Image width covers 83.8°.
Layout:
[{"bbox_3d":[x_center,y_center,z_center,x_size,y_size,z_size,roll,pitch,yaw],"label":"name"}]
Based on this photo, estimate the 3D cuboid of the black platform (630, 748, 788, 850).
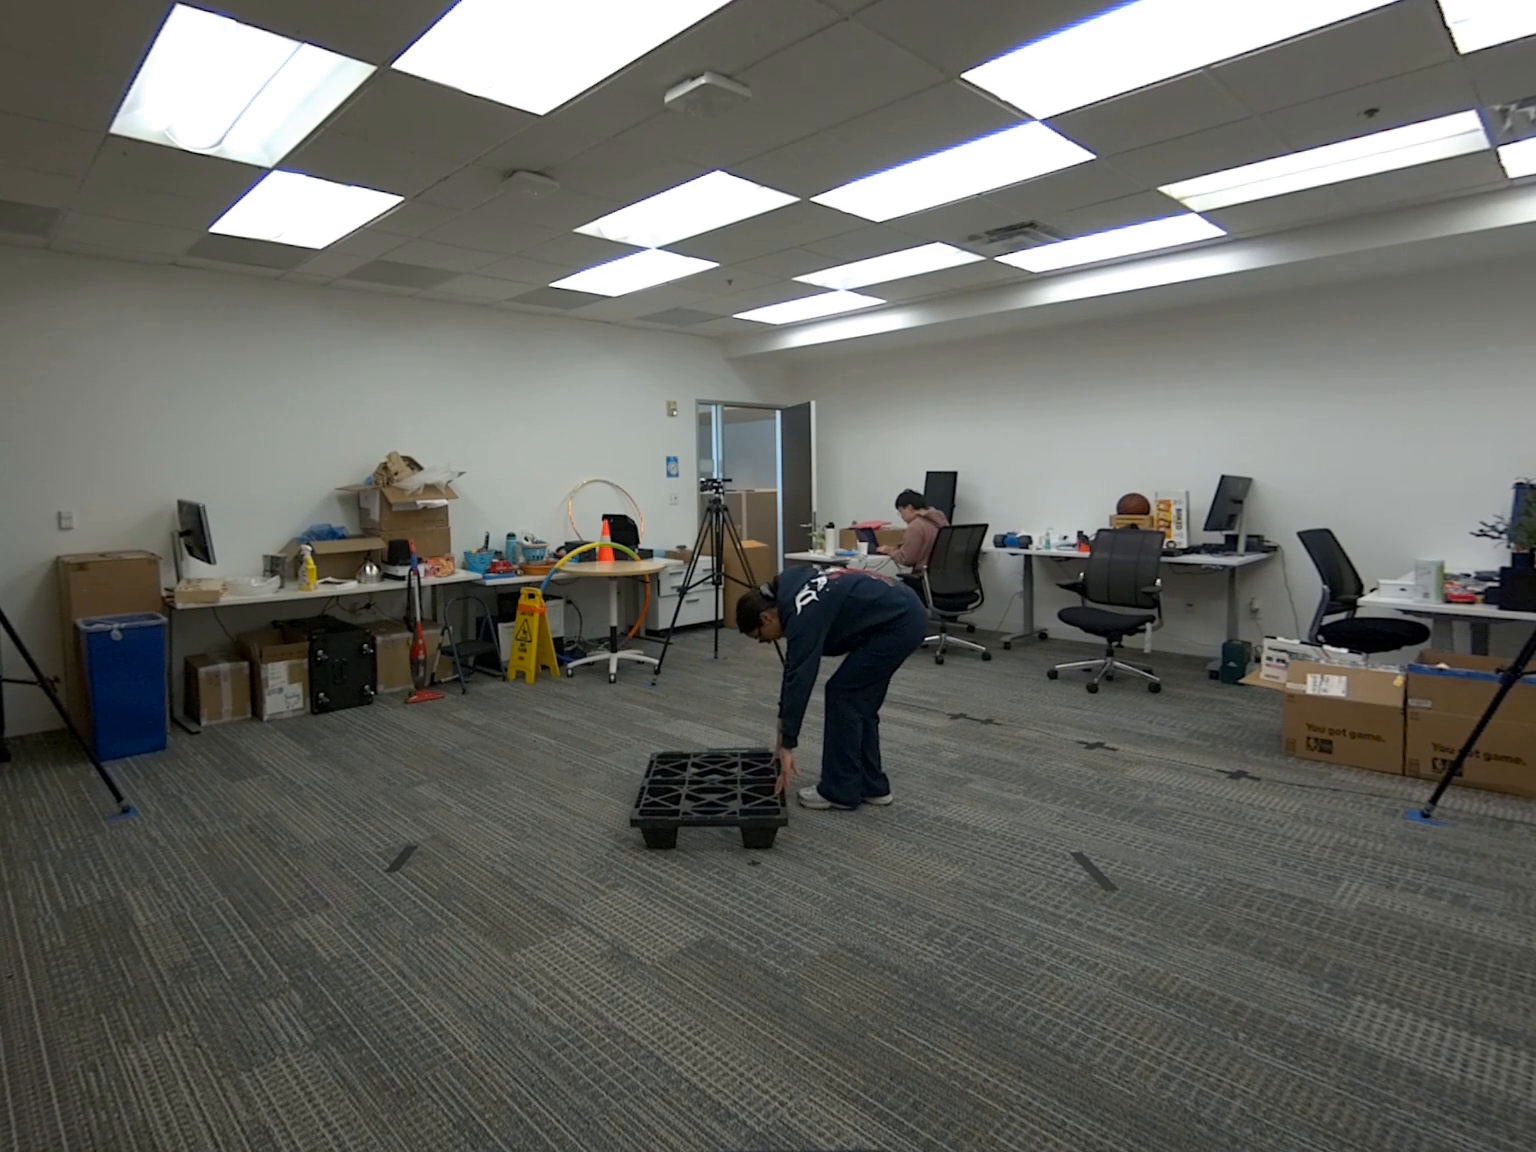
[{"bbox_3d":[-0.224,0.923,3.592,0.605,0.143,0.809,0,6,-1],"label":"black platform"}]
